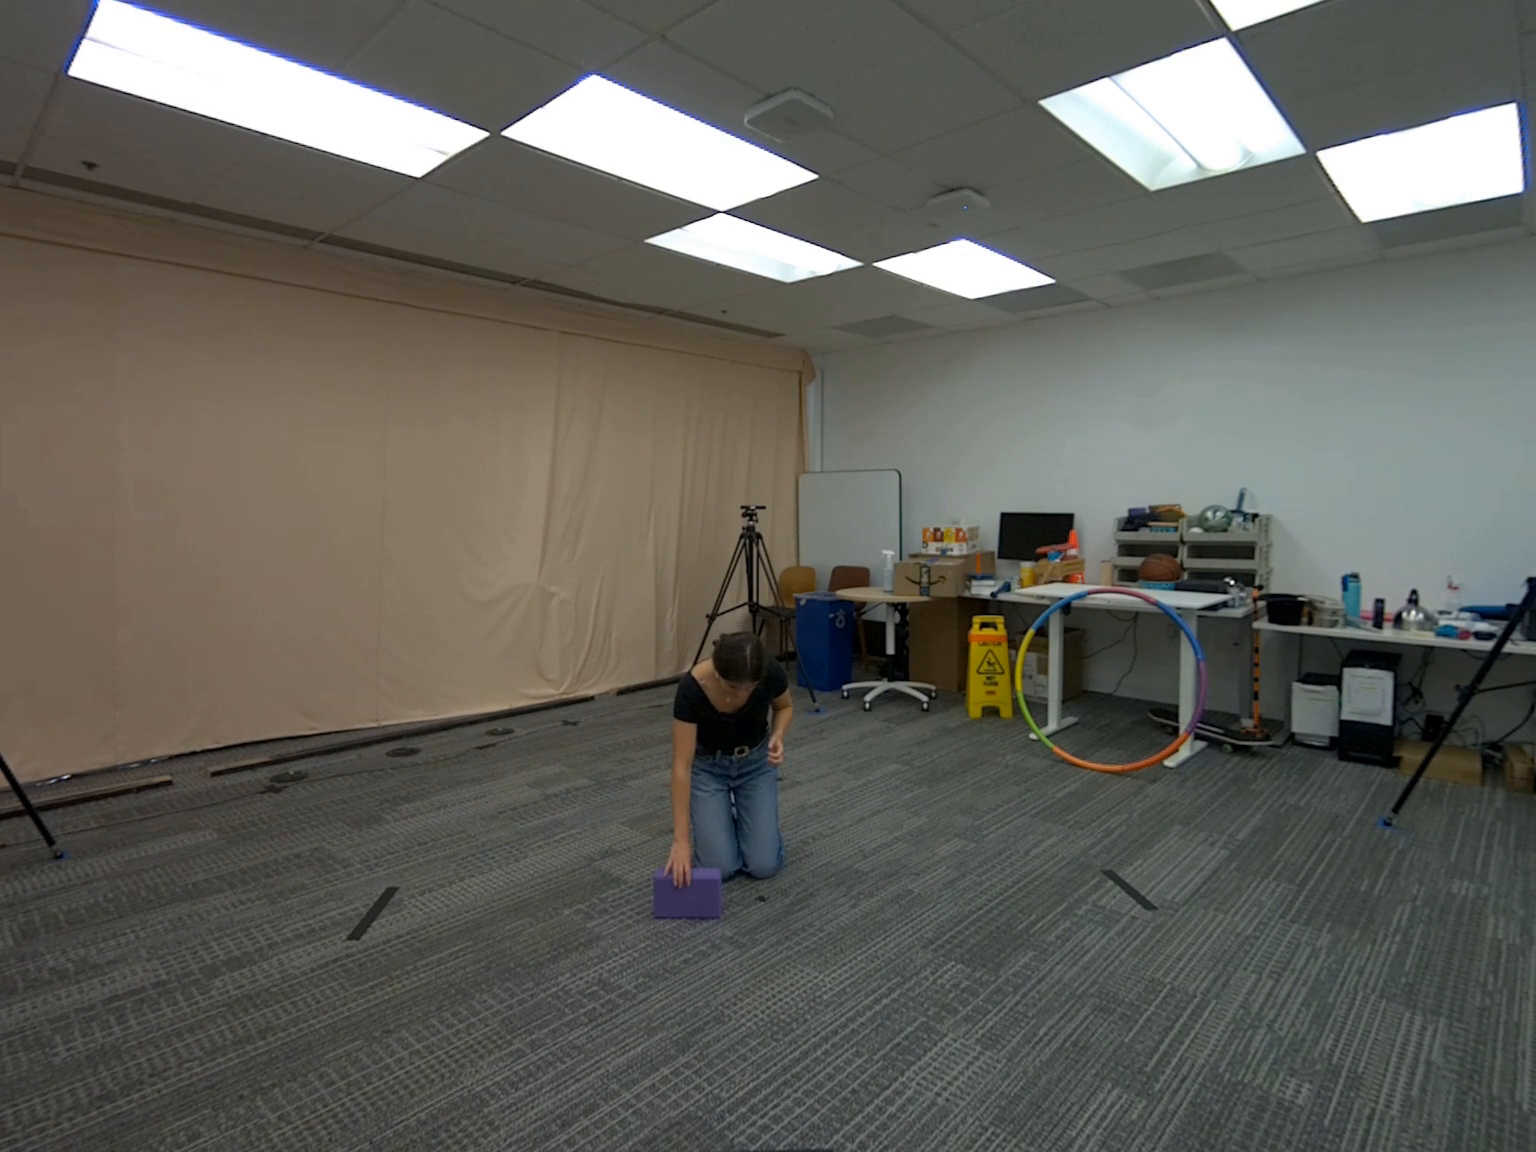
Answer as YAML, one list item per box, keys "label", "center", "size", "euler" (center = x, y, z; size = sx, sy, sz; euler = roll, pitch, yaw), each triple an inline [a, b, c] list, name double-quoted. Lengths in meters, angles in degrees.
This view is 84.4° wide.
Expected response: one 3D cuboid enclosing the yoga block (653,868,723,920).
- label: "yoga block"
  center: [-0.272, 1.075, 2.867]
  size: [0.230, 0.149, 0.076]
  euler: [2, 3, 2]
